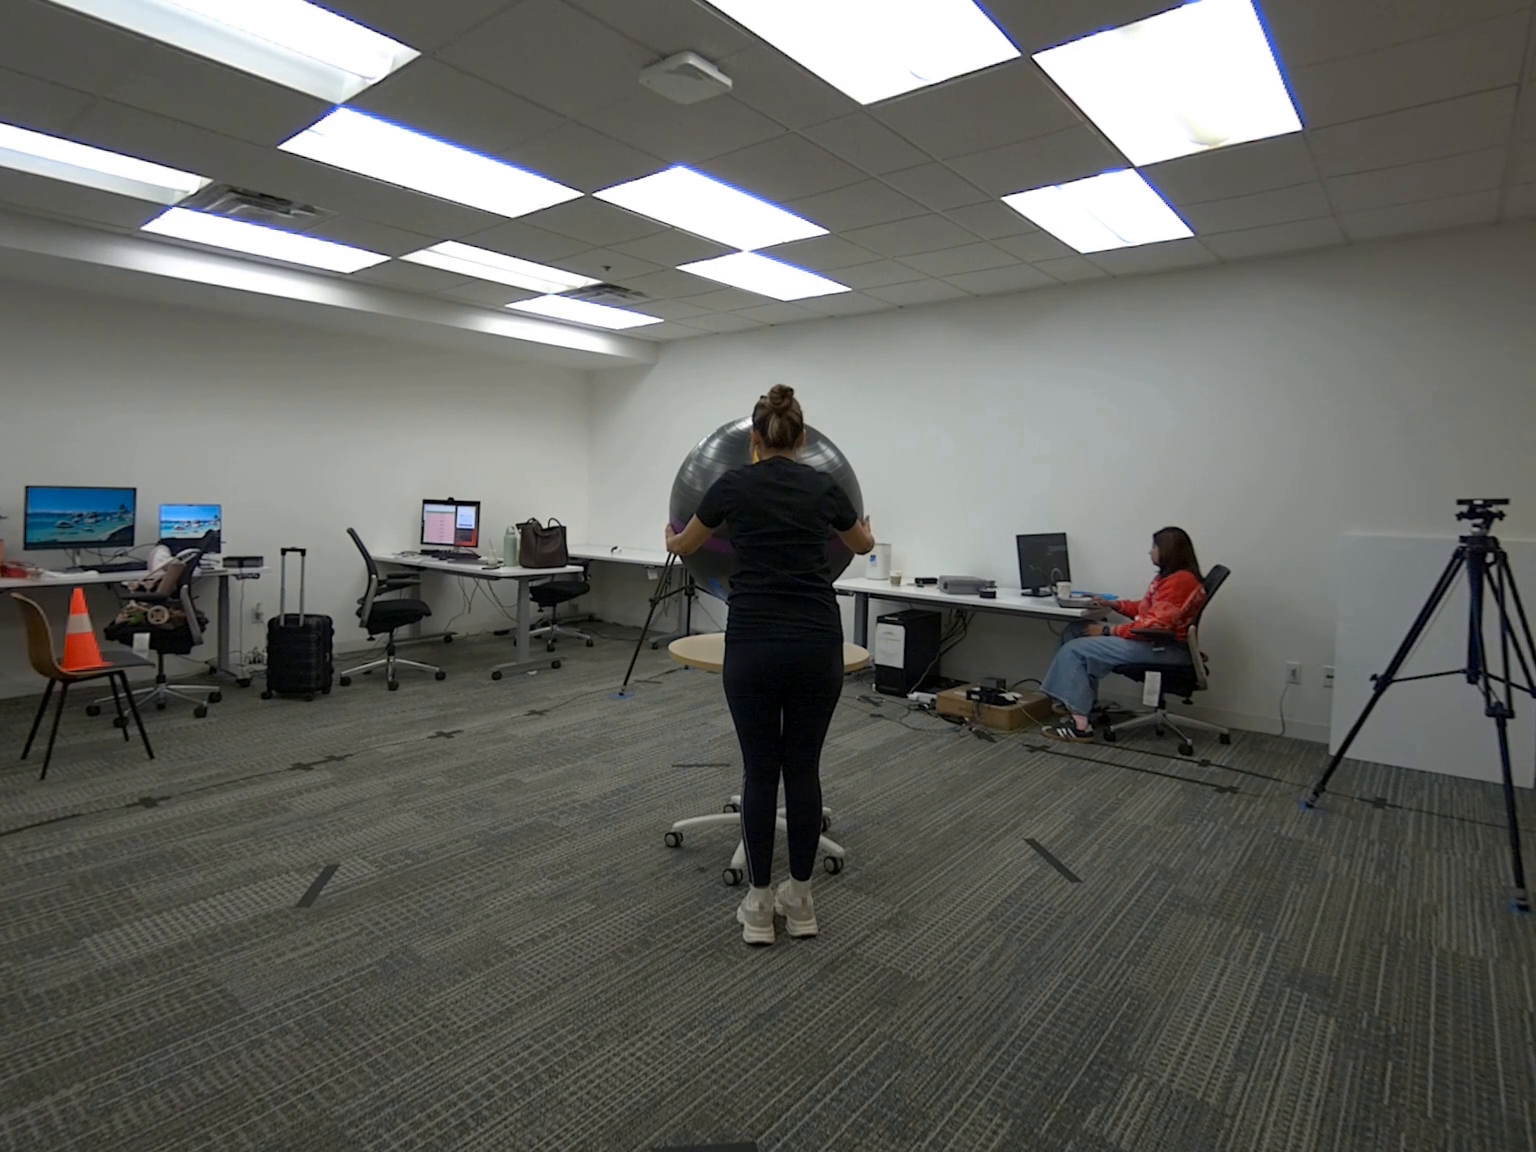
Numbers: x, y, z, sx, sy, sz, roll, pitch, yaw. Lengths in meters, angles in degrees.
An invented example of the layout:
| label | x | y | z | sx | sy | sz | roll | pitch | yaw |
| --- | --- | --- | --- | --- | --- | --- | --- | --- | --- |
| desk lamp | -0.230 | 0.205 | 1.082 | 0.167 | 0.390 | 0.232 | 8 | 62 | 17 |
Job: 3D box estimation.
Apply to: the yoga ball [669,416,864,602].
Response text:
| label | x | y | z | sx | sy | sz | roll | pitch | yaw |
| --- | --- | --- | --- | --- | --- | --- | --- | --- | --- |
| yoga ball | -0.012 | -0.245 | 3.332 | 0.757 | 0.756 | 0.762 | 1 | 4 | -2 |
